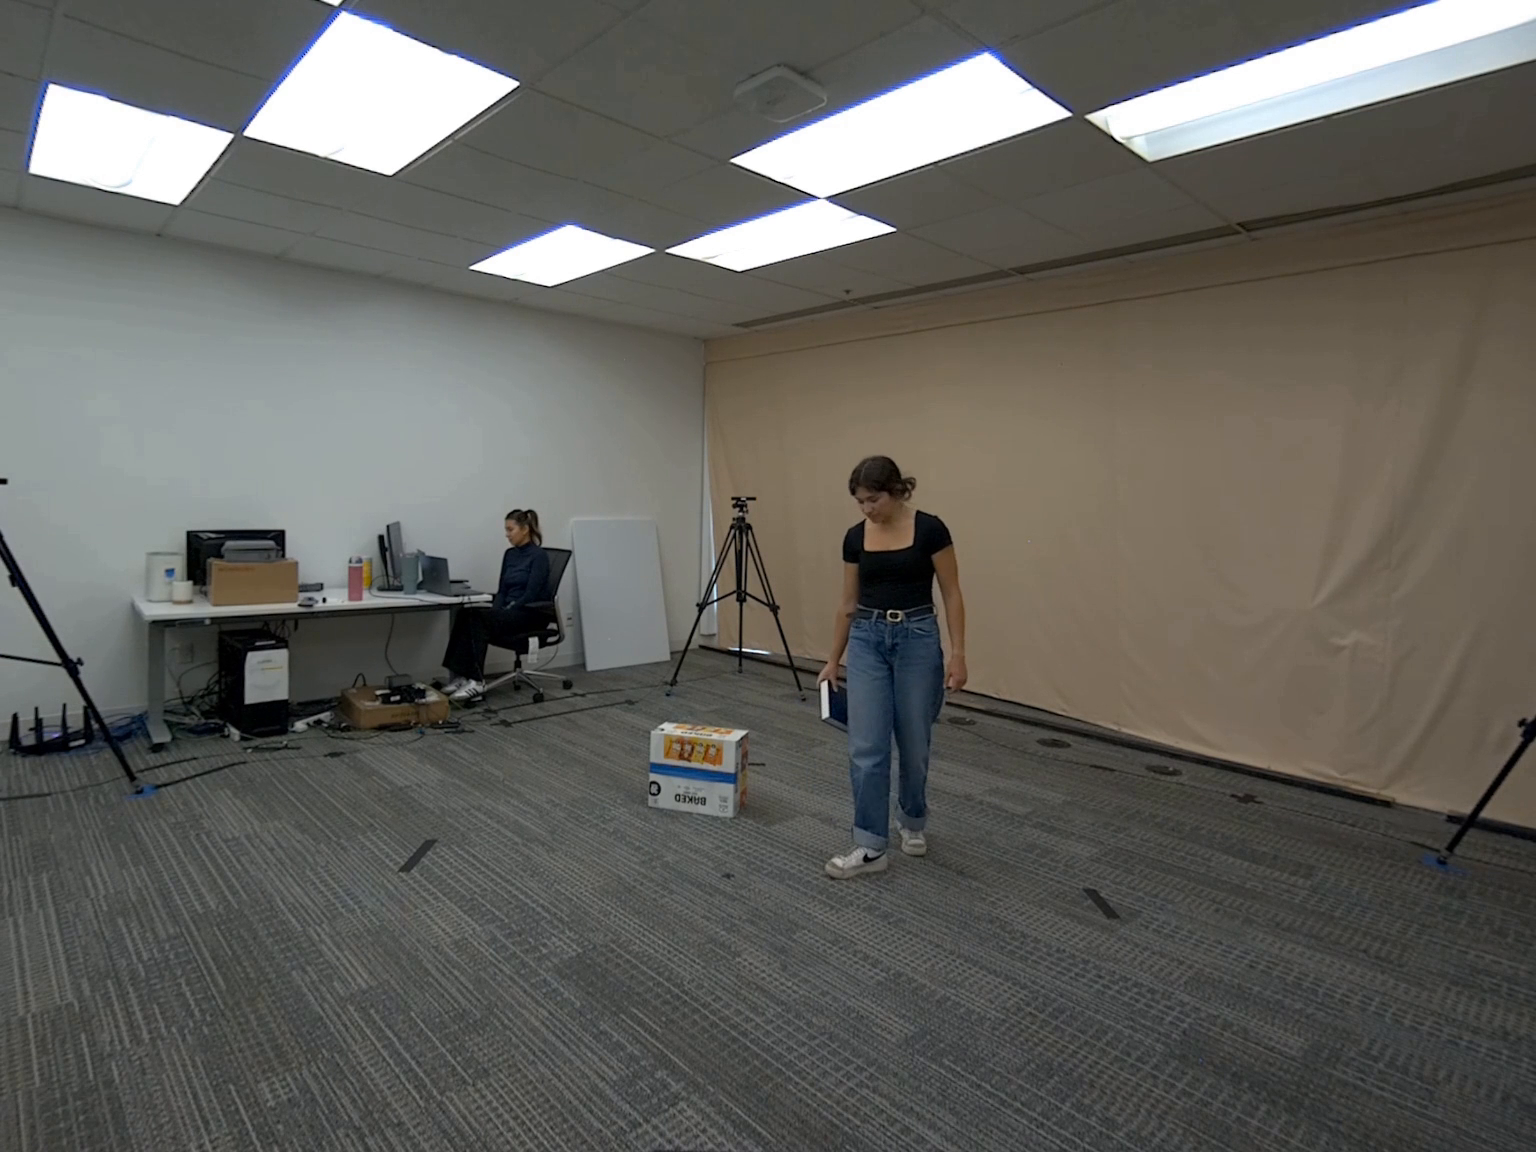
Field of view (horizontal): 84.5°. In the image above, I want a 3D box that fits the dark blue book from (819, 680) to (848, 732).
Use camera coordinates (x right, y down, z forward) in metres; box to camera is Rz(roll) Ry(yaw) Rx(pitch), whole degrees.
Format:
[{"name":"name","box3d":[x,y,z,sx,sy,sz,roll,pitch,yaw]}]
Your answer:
[{"name":"dark blue book","box3d":[0.294,0.526,3.339,0.045,0.166,0.238,-27,-44,35]}]
